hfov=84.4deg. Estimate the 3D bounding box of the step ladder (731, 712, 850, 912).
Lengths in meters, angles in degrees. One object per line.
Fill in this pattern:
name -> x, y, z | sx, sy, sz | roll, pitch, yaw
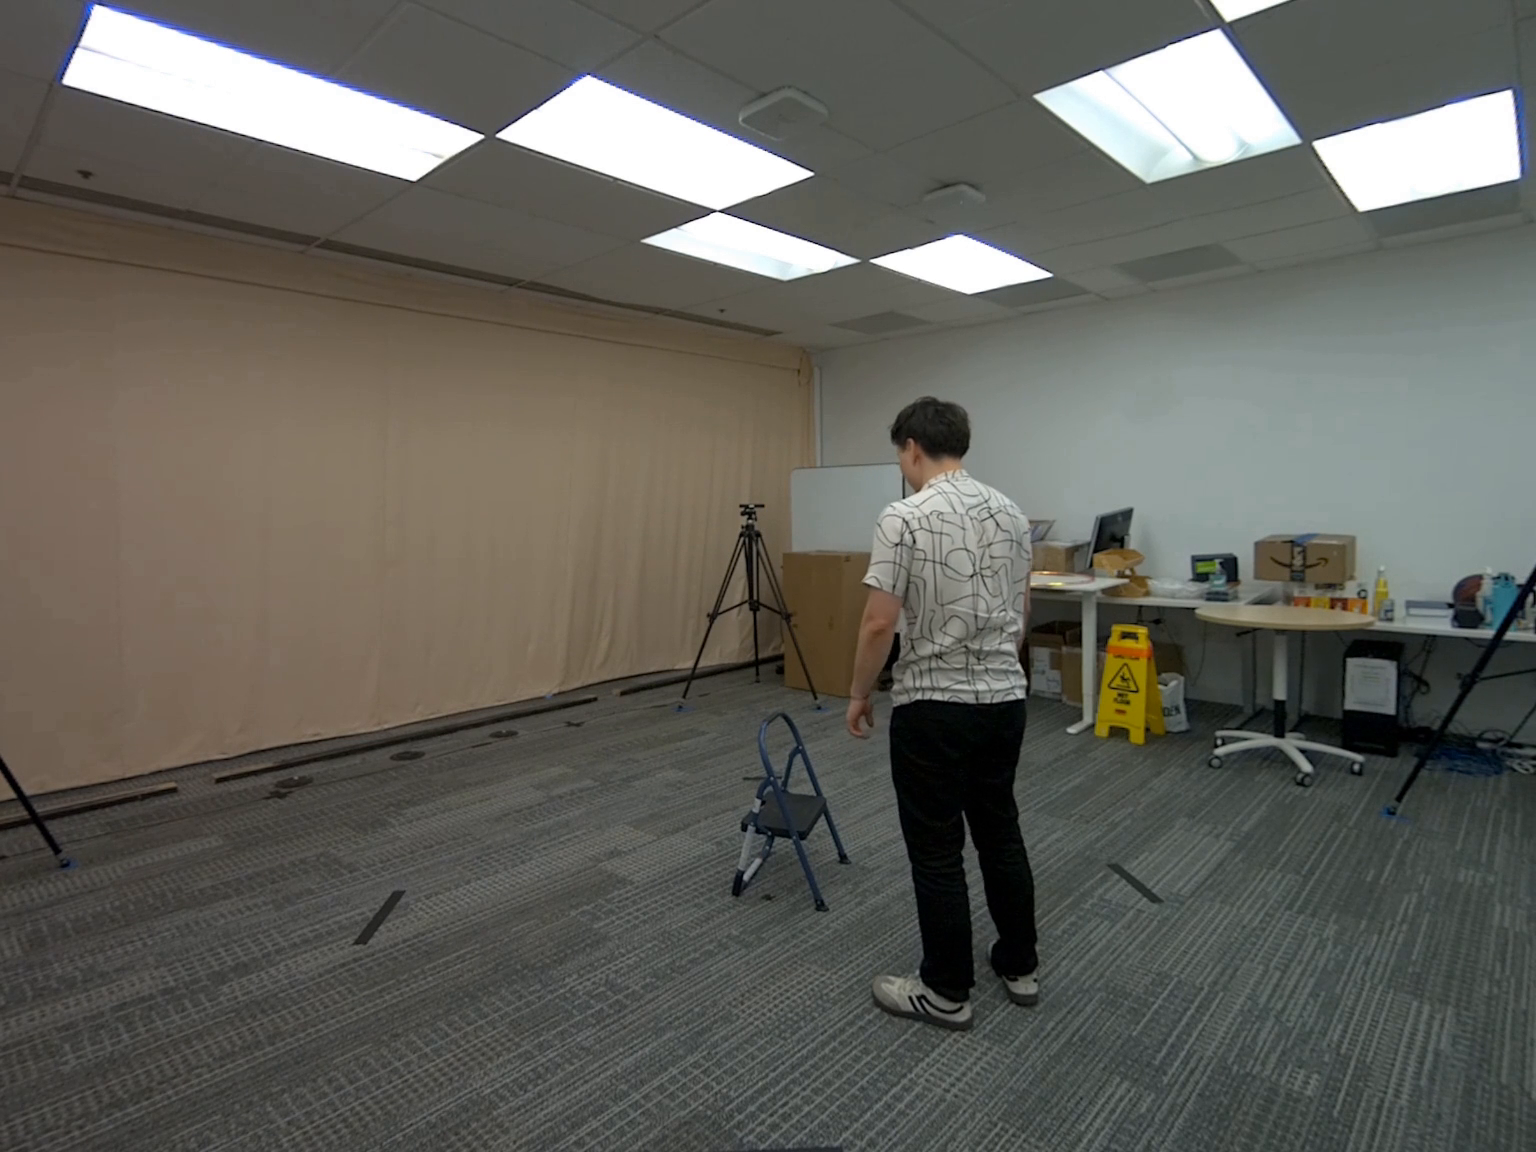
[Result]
step ladder -> 0.093, 0.822, 3.113 | 0.356, 0.605, 0.423 | 1, 4, 18
